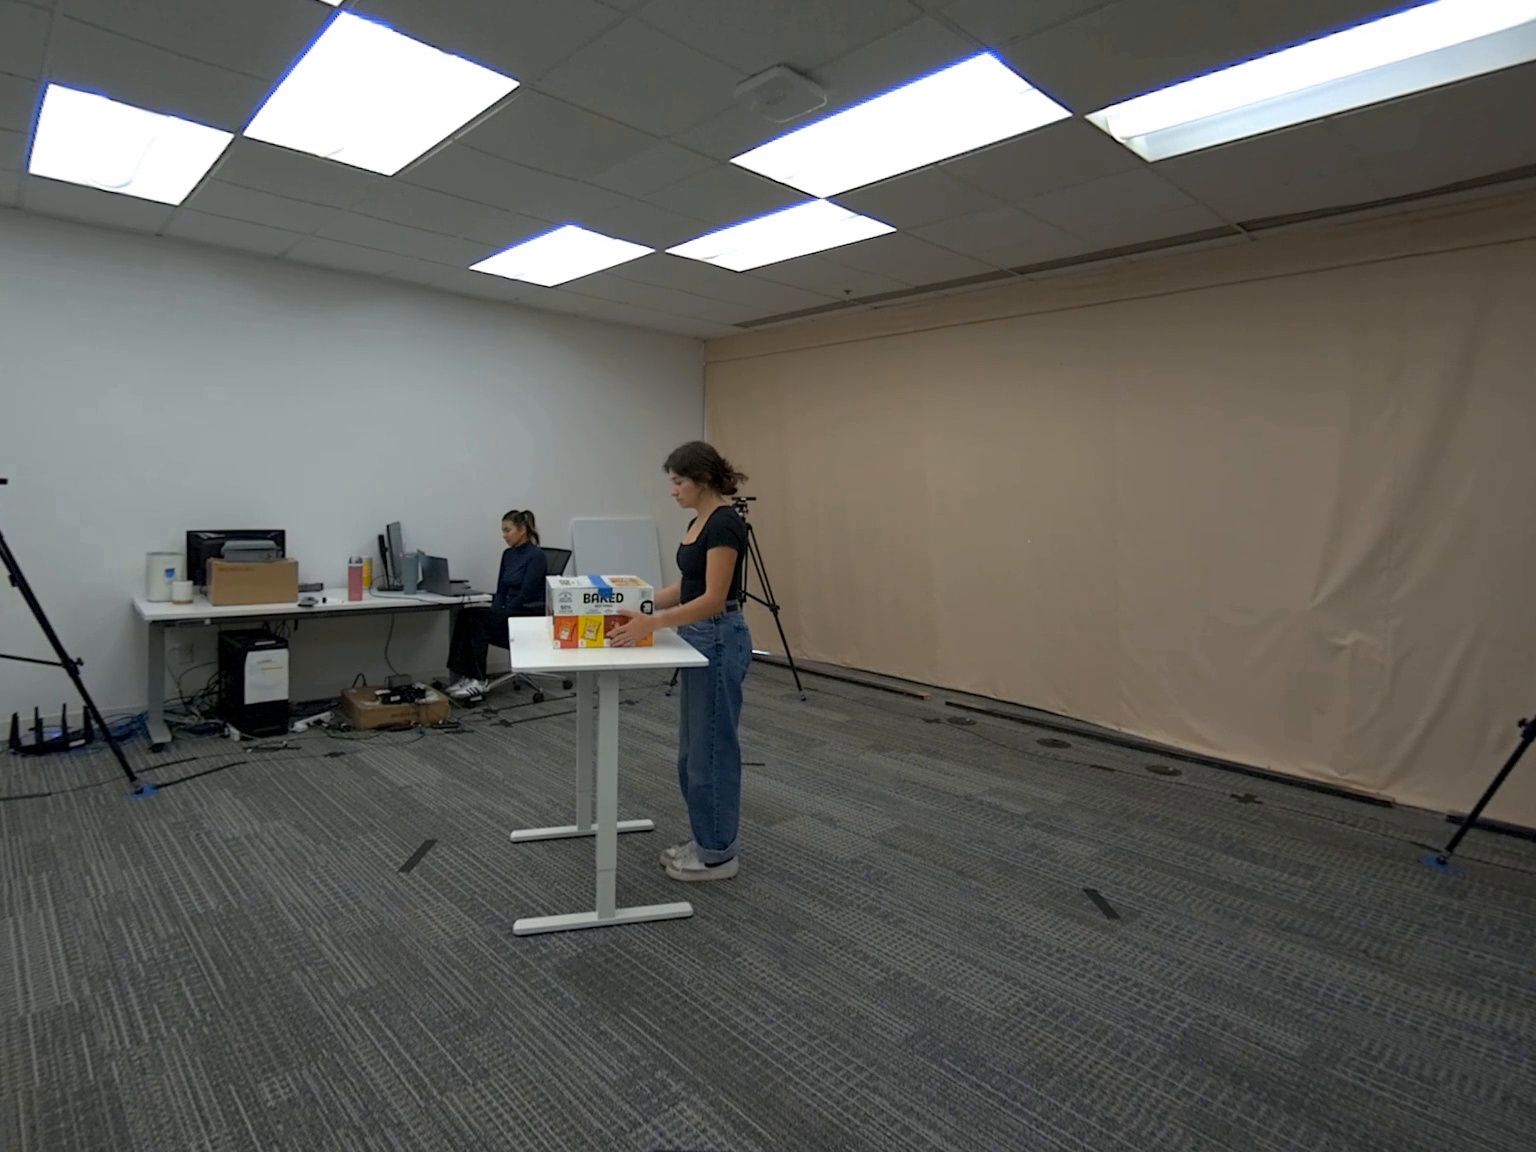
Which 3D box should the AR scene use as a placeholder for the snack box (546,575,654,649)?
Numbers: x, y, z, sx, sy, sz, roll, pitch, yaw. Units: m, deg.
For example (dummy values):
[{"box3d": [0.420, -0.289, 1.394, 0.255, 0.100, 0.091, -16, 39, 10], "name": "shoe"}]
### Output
[{"box3d": [-0.615, 0.121, 3.022, 0.336, 0.205, 0.412, 0, 5, -17], "name": "snack box"}]
